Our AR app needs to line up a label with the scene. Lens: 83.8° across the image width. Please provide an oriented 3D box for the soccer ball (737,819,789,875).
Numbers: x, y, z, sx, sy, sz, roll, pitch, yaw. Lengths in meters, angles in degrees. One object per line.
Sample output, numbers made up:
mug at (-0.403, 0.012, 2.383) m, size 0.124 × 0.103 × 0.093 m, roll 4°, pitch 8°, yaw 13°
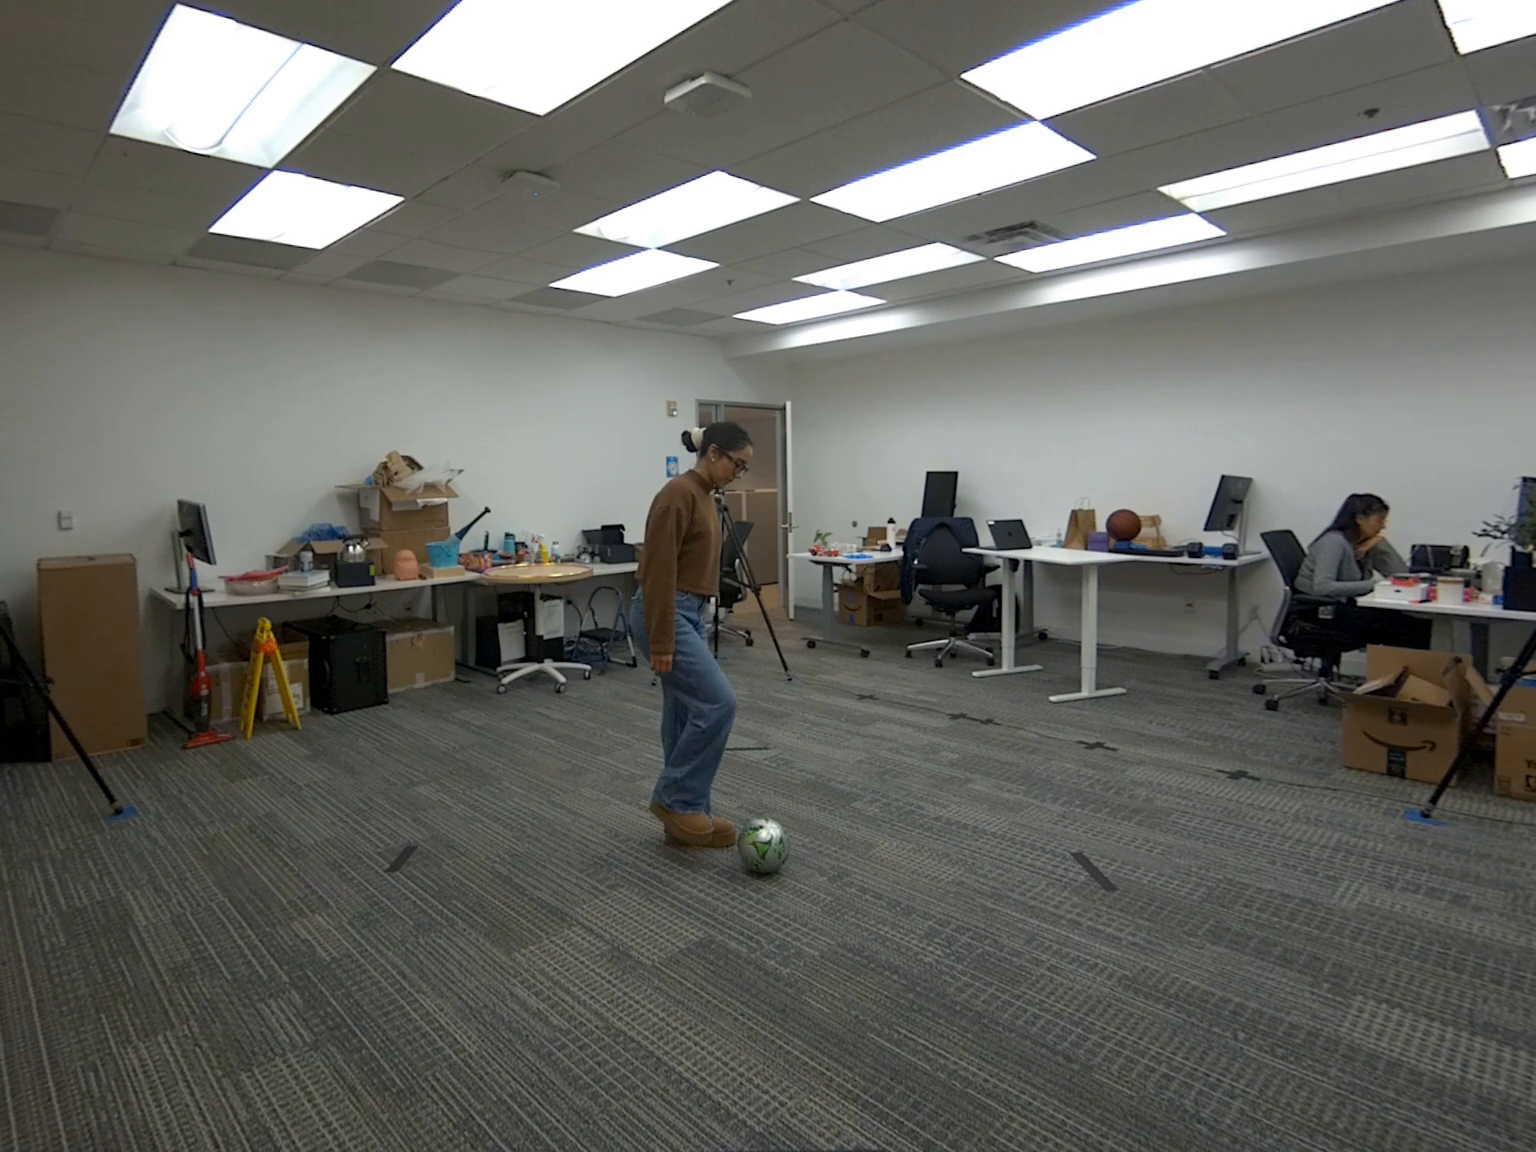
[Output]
soccer ball at (-0.011, 0.954, 3.038) m, size 0.187 × 0.187 × 0.188 m, roll -1°, pitch 5°, yaw -2°
